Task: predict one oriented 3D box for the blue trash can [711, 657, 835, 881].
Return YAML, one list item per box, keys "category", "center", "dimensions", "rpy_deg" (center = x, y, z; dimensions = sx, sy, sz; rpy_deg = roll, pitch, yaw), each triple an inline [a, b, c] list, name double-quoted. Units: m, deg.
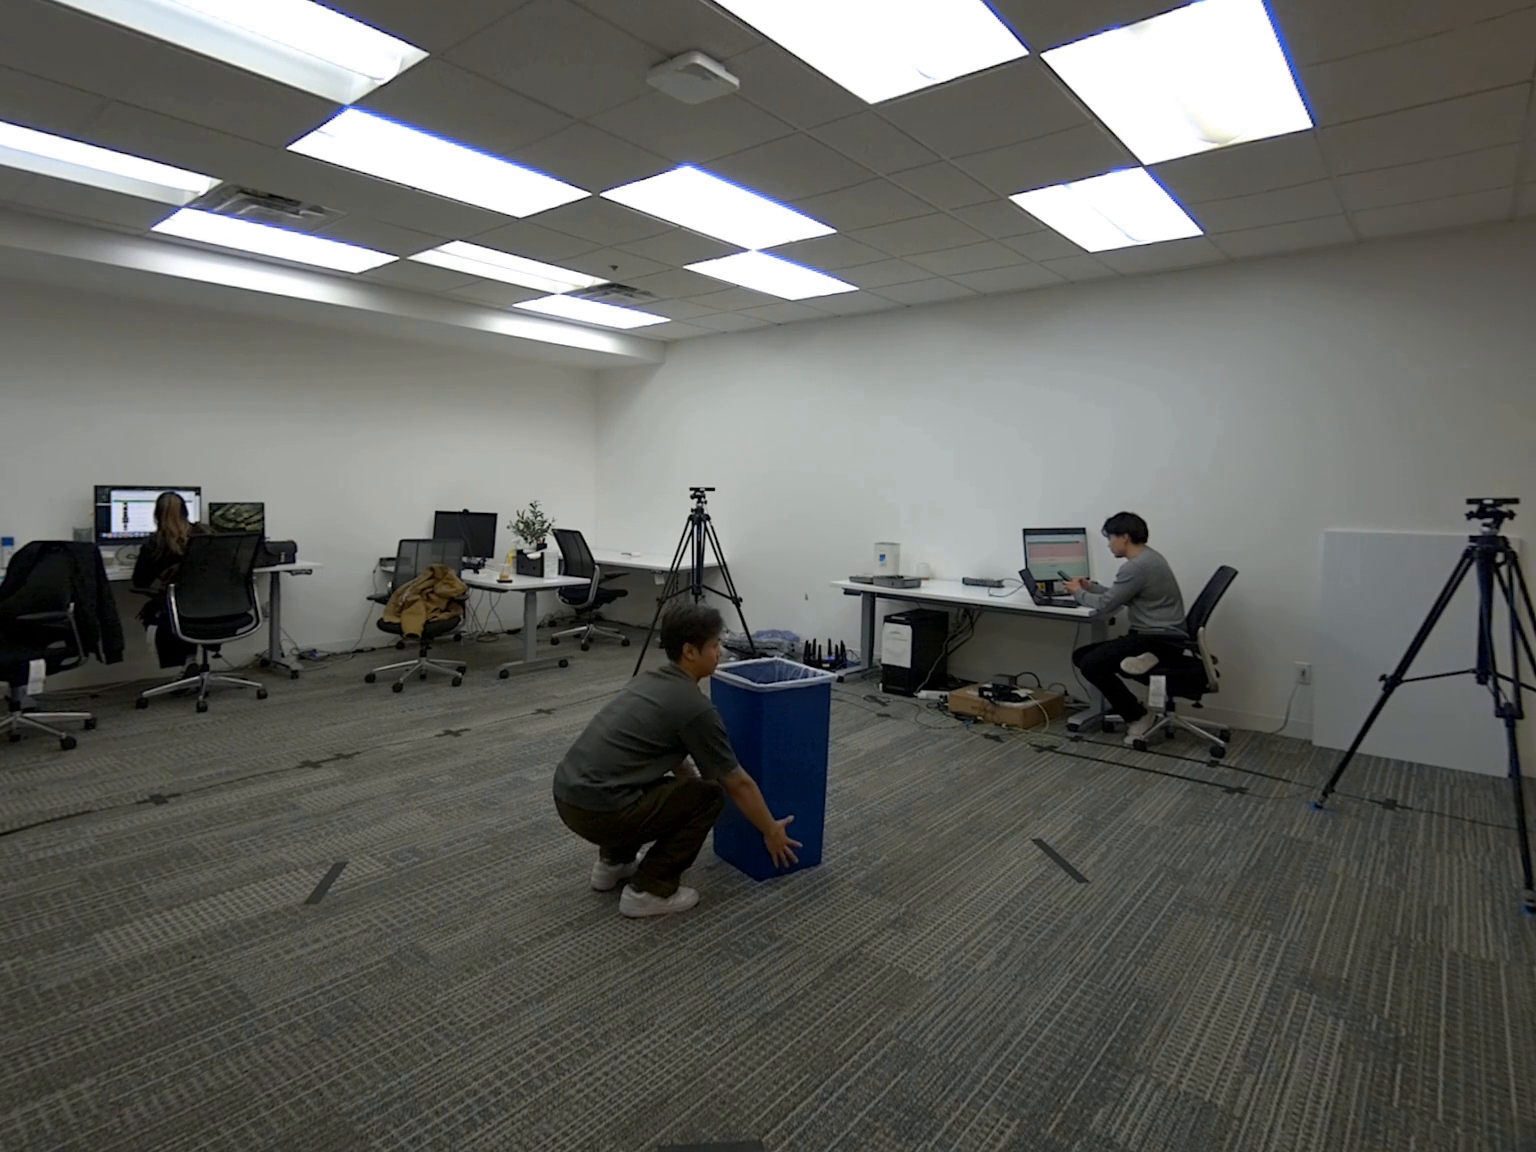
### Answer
- category: "blue trash can"
  center: [-0.012, 0.702, 3.201]
  dimensions: [0.367, 0.711, 0.386]
  rpy_deg: [-1, 5, -36]
